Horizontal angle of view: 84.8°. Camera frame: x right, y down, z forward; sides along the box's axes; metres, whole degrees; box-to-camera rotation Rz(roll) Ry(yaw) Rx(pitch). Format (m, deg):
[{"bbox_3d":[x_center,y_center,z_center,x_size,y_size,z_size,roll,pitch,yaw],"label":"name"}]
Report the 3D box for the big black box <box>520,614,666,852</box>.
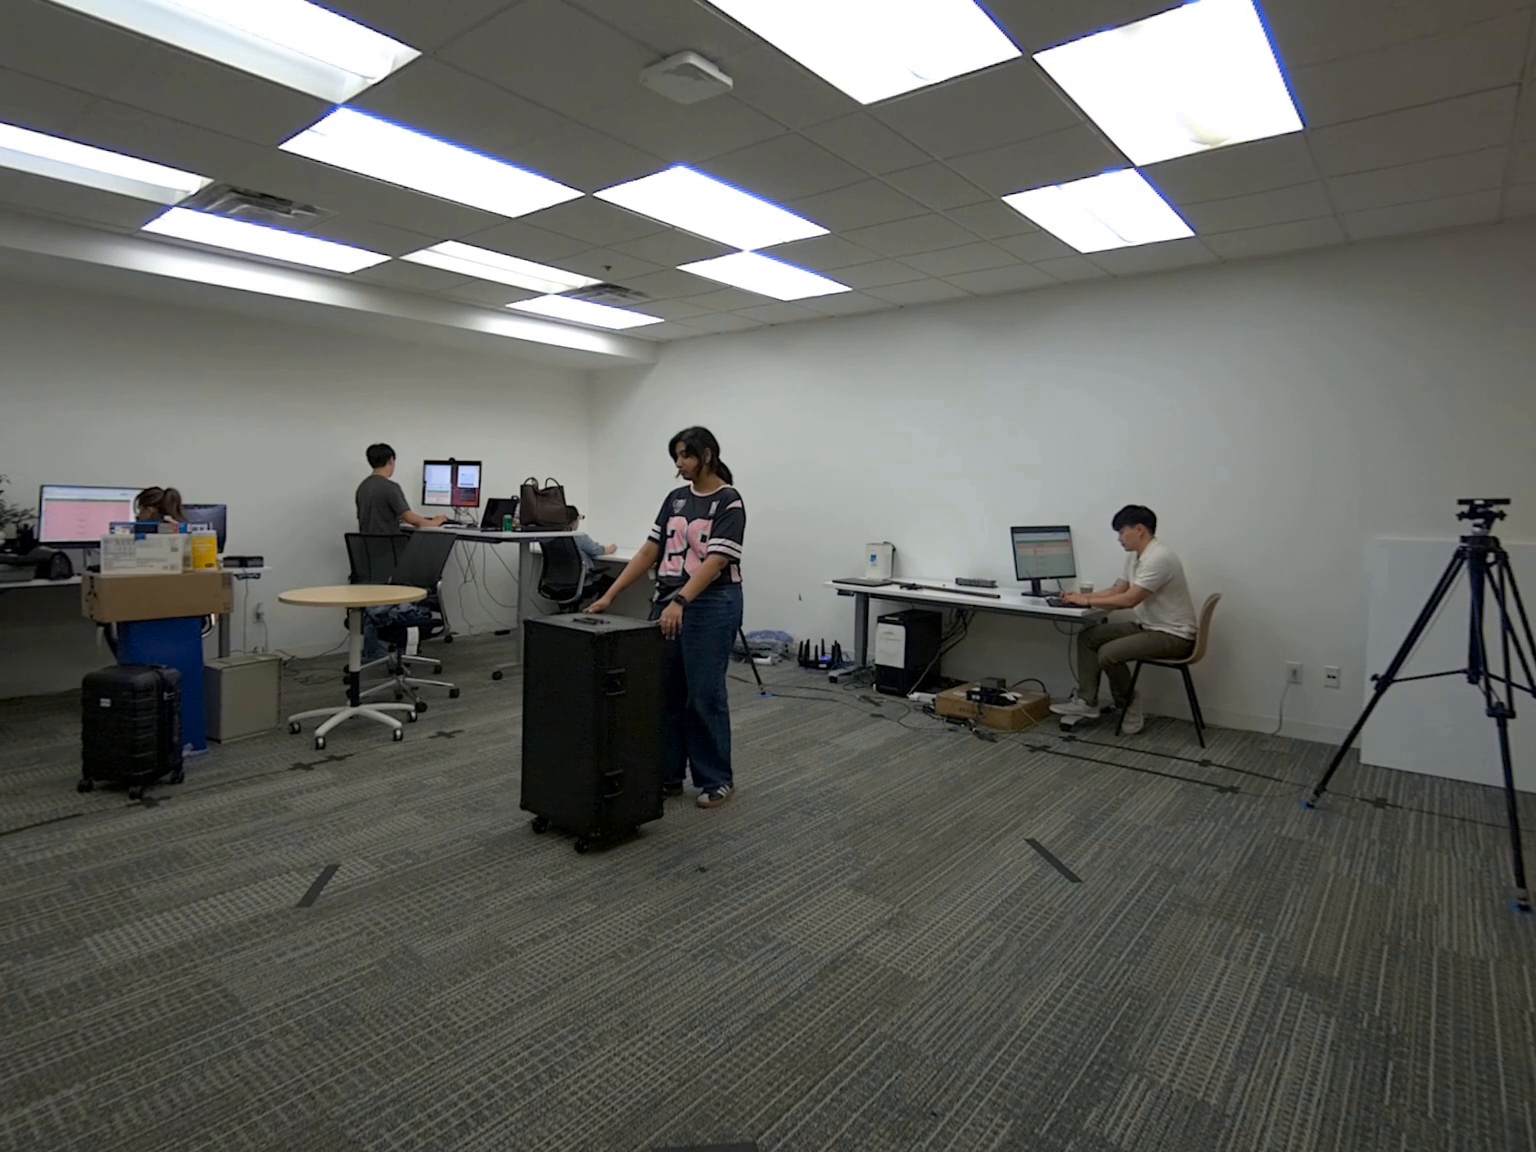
[{"bbox_3d":[-0.728,0.608,3.440,0.541,0.867,0.373,4,2,40],"label":"big black box"}]
